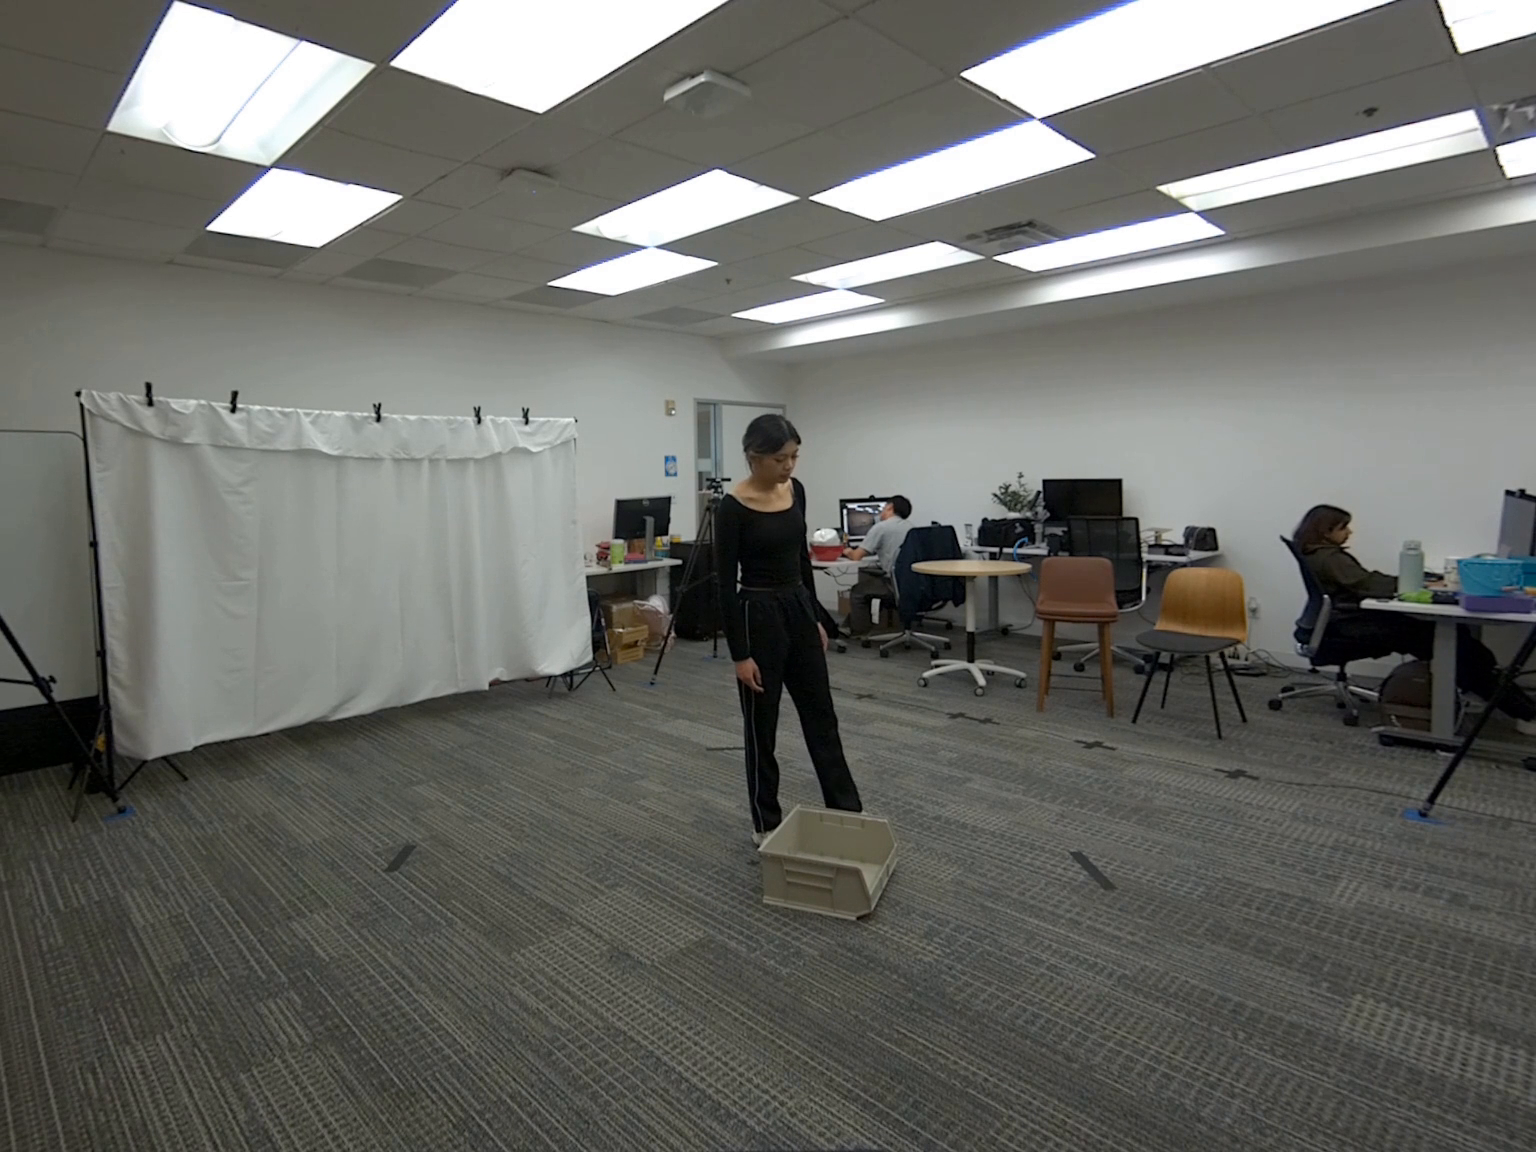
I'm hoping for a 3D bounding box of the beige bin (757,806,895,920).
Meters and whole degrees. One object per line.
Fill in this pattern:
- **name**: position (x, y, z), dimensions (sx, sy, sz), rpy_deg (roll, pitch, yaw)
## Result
- **beige bin**: position (0.223, 0.975, 2.919), dimensions (0.385, 0.188, 0.416), rpy_deg (0, 6, 22)
